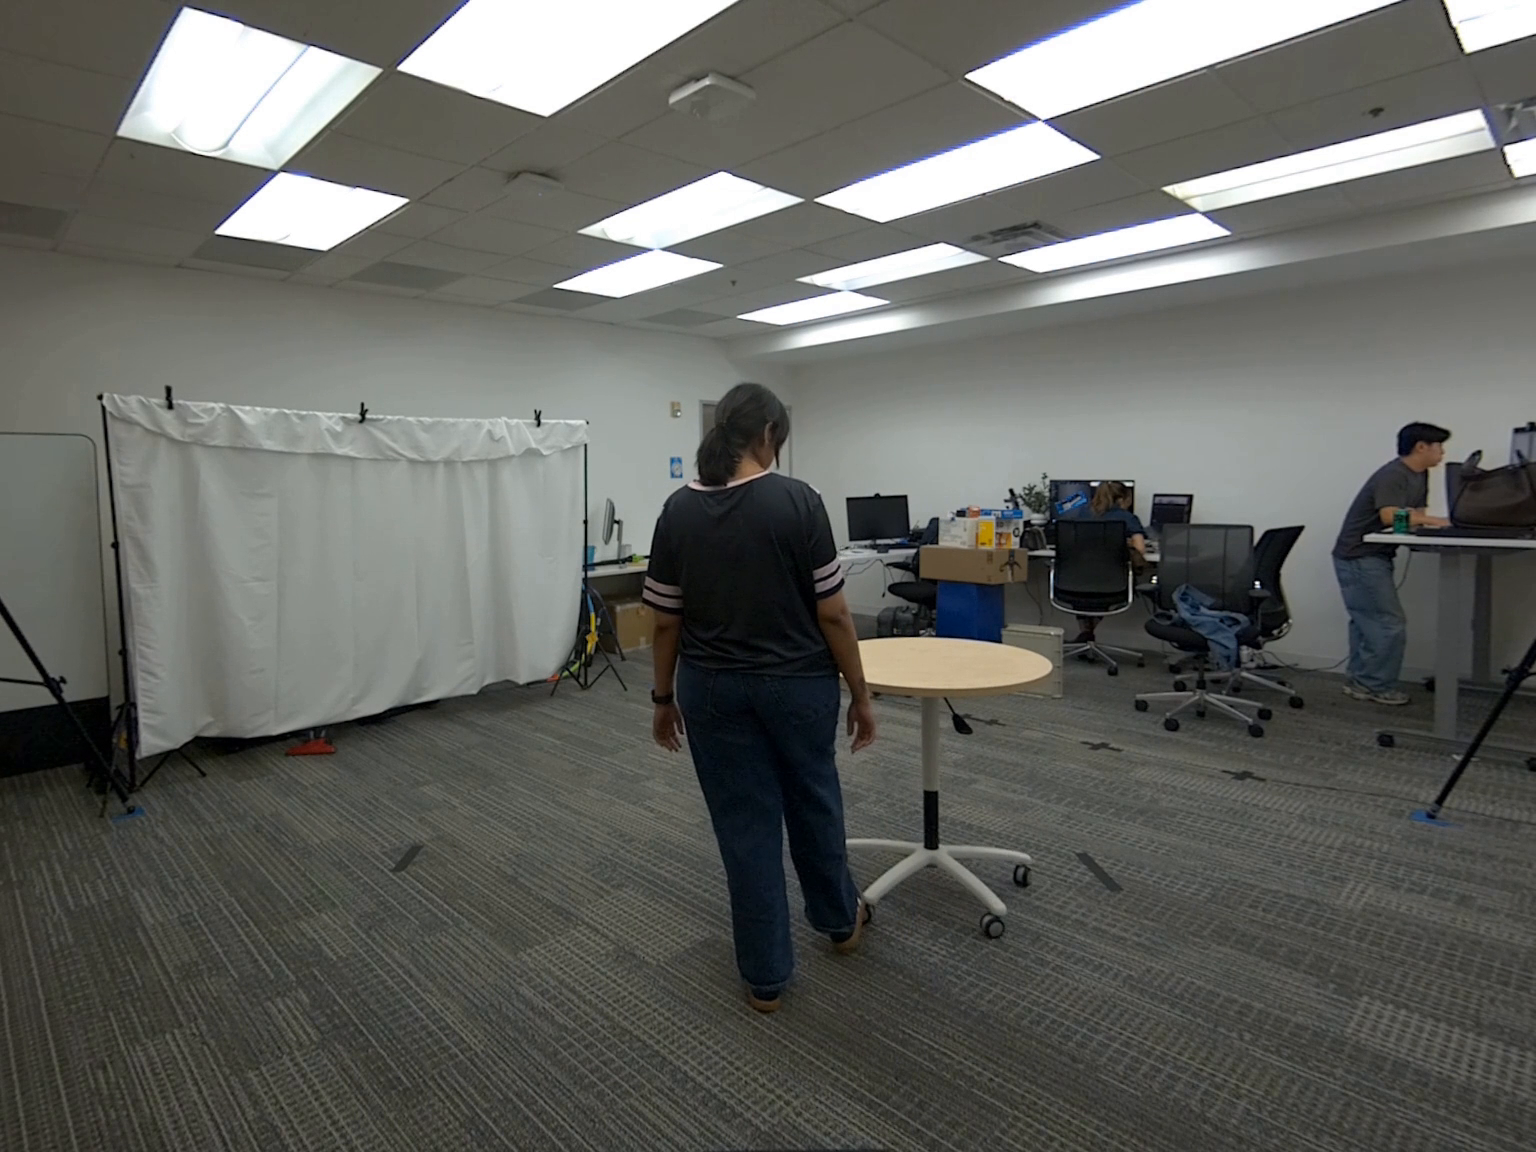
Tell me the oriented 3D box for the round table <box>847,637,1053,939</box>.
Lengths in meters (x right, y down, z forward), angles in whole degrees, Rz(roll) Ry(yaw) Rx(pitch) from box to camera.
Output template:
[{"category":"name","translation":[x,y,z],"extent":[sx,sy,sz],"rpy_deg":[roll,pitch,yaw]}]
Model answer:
[{"category":"round table","translation":[0.552,0.673,2.882],"extent":[0.763,0.791,0.768],"rpy_deg":[-1,5,-2]}]
